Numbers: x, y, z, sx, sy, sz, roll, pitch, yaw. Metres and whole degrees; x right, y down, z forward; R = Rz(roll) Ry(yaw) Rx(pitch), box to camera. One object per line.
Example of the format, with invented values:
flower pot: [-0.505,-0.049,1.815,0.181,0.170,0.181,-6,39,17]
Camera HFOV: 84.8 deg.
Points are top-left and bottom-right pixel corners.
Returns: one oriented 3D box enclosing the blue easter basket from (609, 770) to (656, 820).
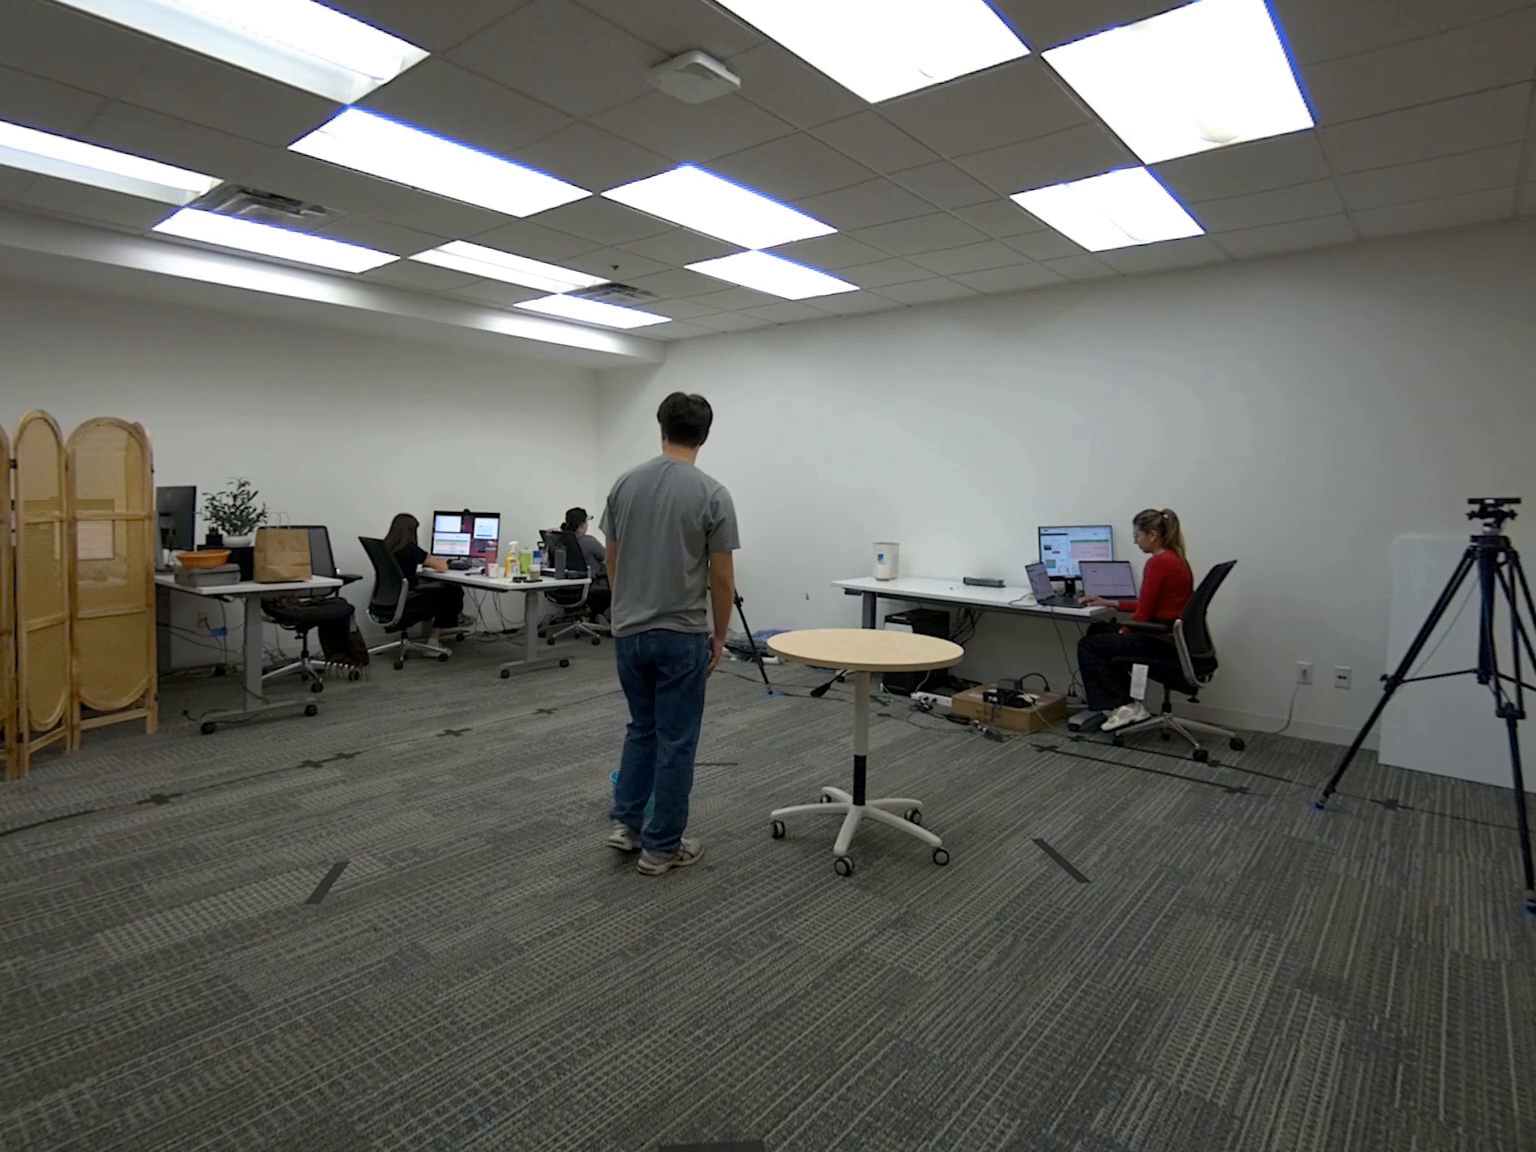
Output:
blue easter basket: [-0.569,0.925,3.661,0.243,0.155,0.245,0,5,-2]
